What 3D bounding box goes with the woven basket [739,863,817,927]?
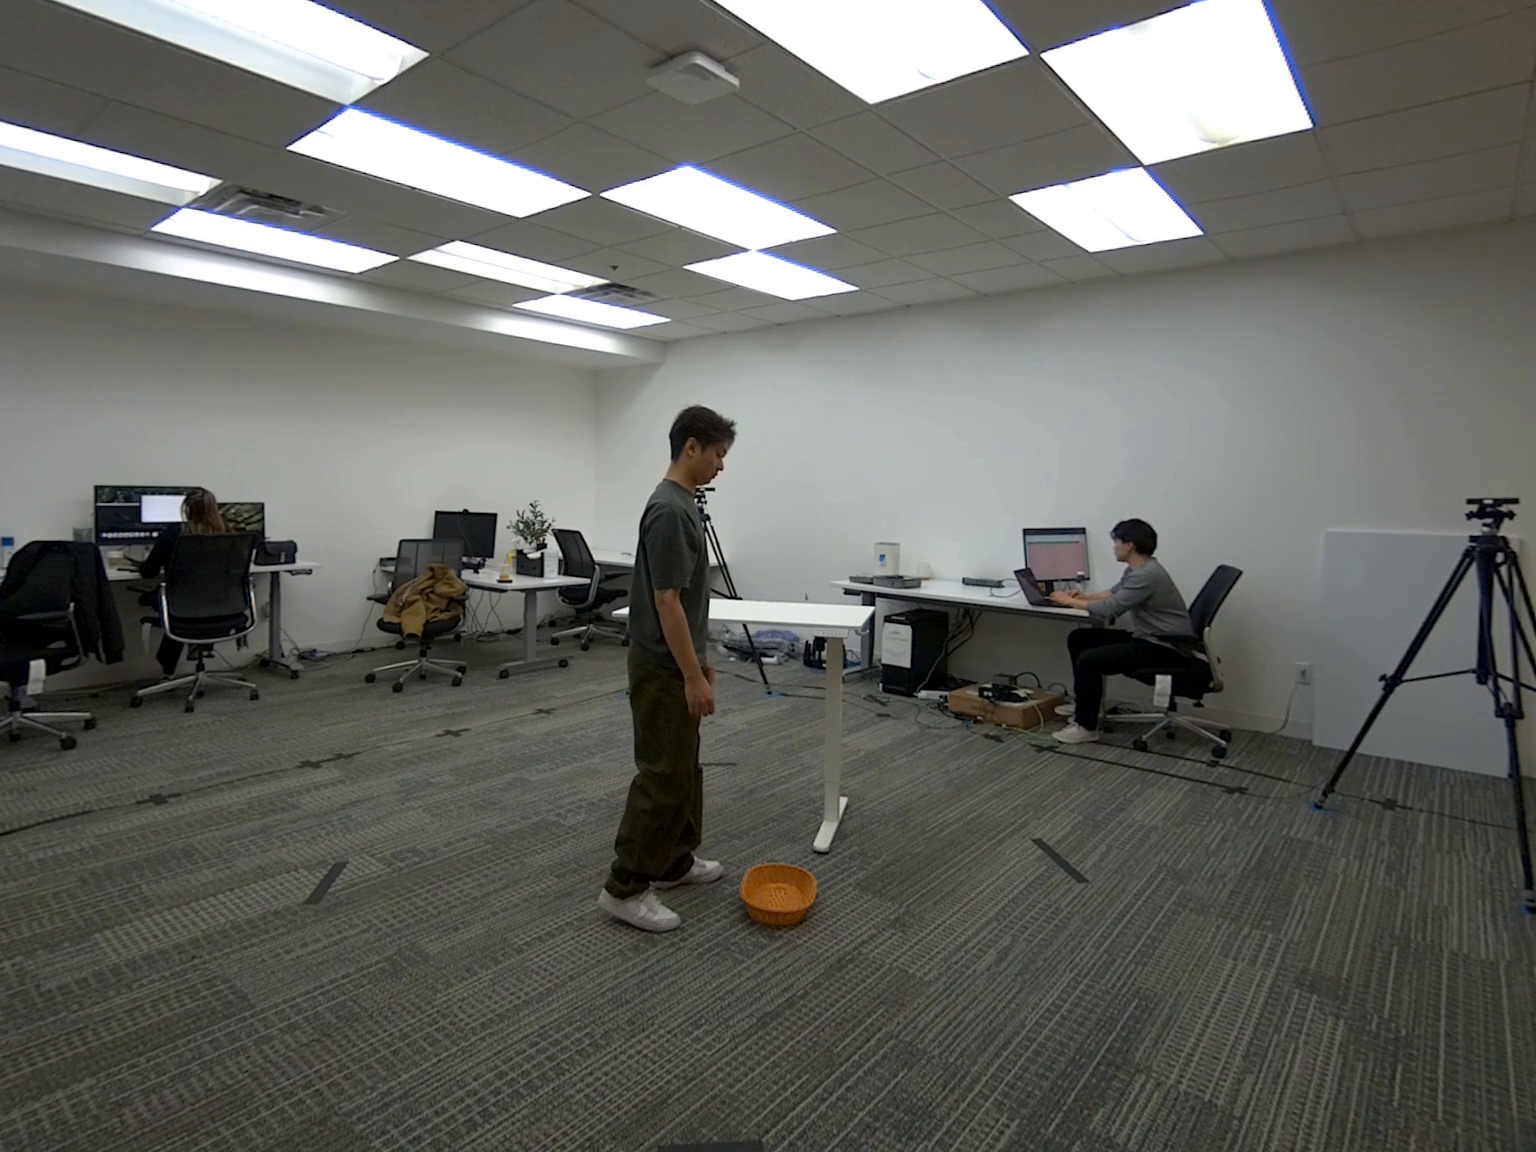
[{"bbox_3d":[0.026,1.064,2.835,0.256,0.073,0.347,3,6,12],"label":"woven basket"}]
